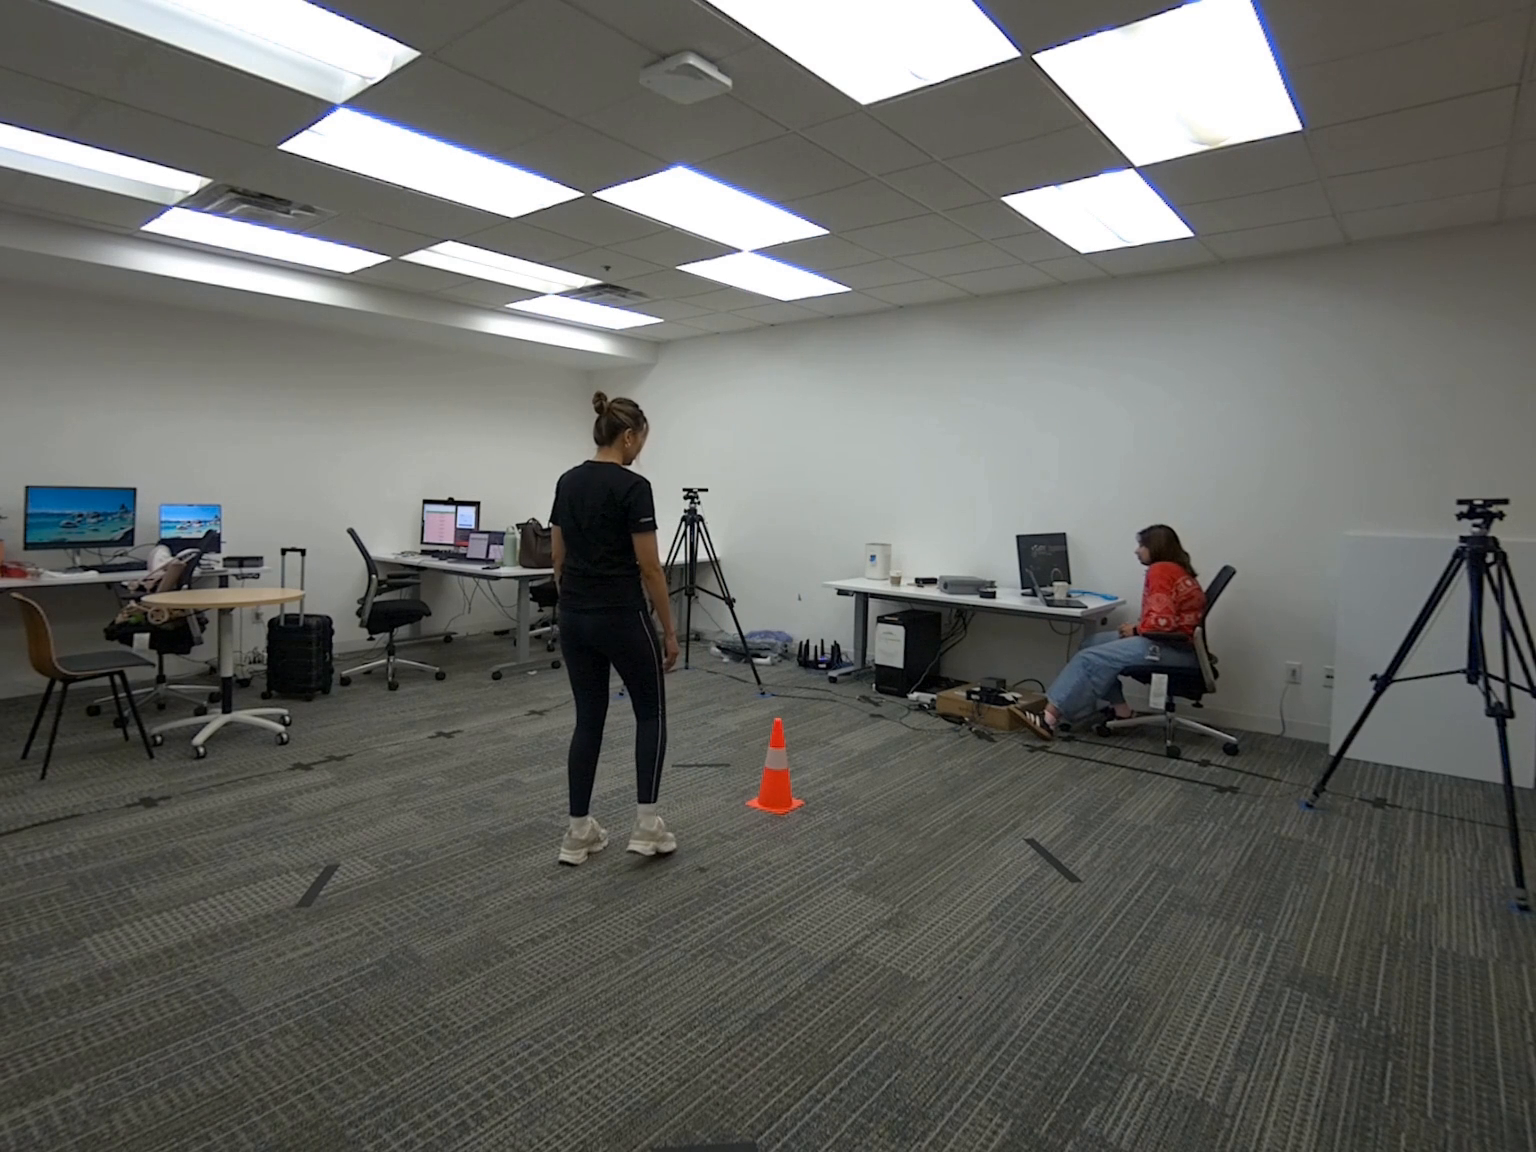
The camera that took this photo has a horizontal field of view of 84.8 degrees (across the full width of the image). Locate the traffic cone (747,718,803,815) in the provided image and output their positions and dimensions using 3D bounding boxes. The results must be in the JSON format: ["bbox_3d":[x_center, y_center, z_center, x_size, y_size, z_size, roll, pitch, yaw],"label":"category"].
[{"bbox_3d":[0.023,0.823,3.783,0.210,0.382,0.199,3,5,38],"label":"traffic cone"}]
